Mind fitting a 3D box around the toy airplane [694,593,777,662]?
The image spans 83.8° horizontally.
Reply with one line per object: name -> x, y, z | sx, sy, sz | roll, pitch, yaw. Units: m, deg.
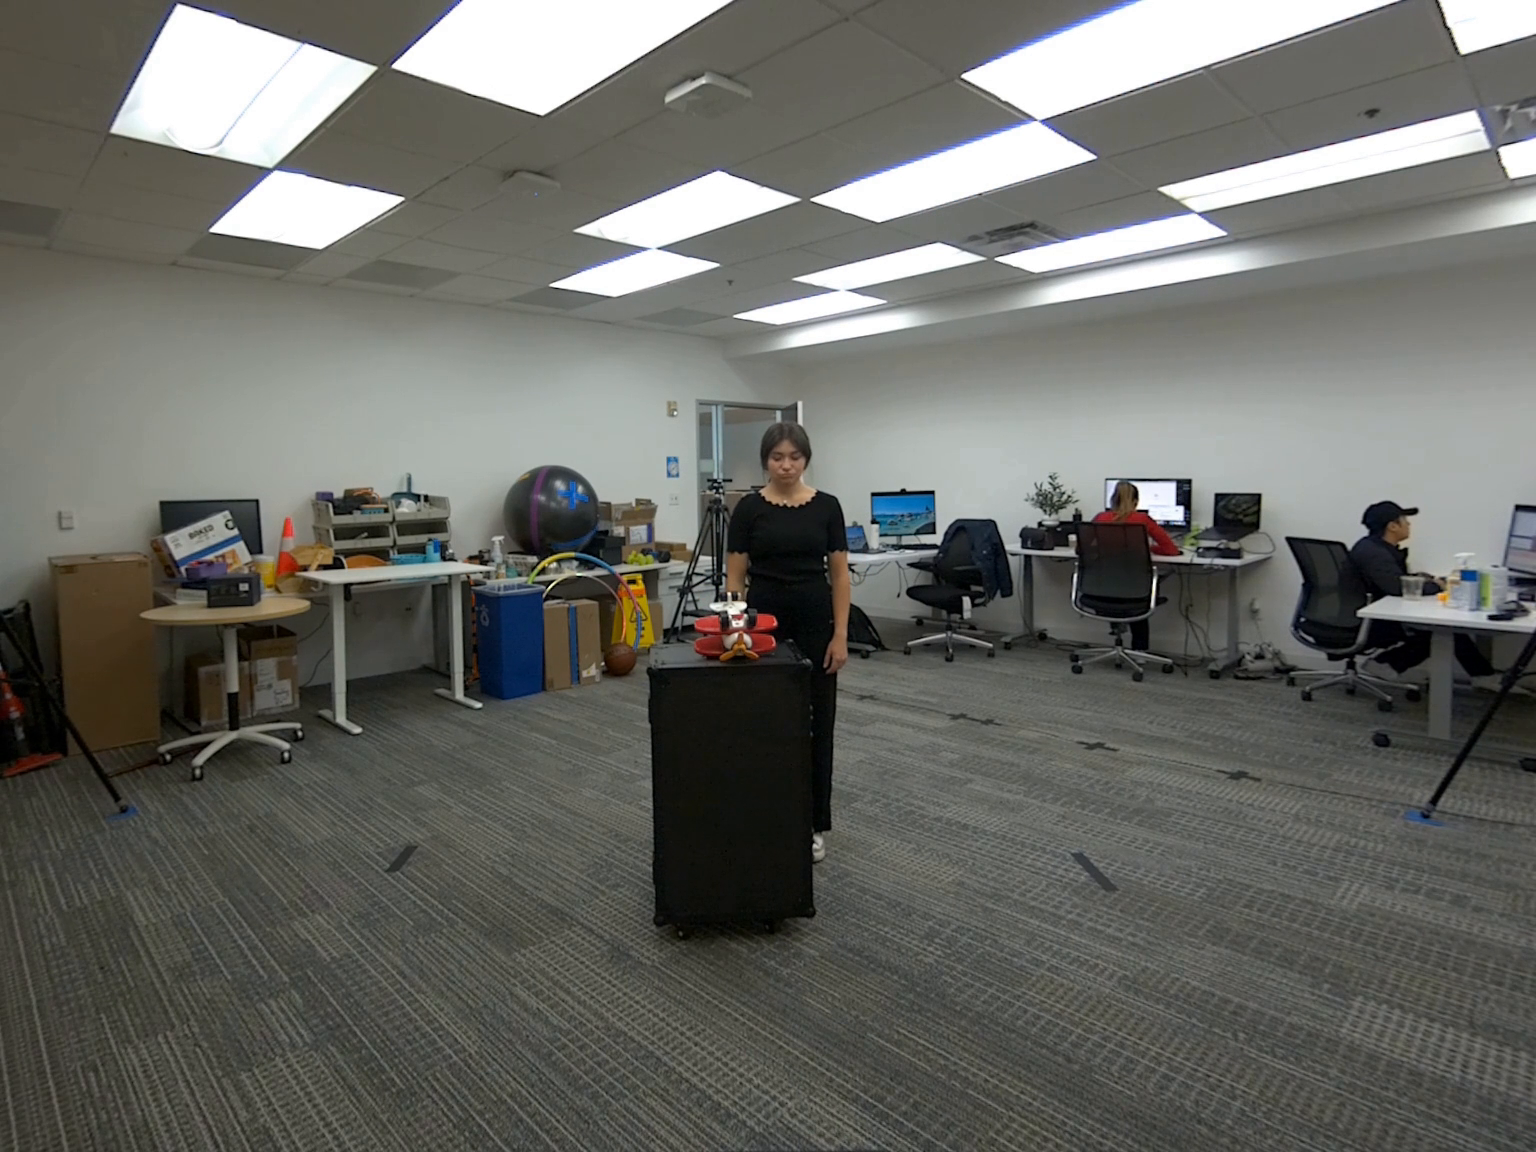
toy airplane -> -0.083, 0.151, 2.667 | 0.256, 0.154, 0.258 | 5, 16, 17
